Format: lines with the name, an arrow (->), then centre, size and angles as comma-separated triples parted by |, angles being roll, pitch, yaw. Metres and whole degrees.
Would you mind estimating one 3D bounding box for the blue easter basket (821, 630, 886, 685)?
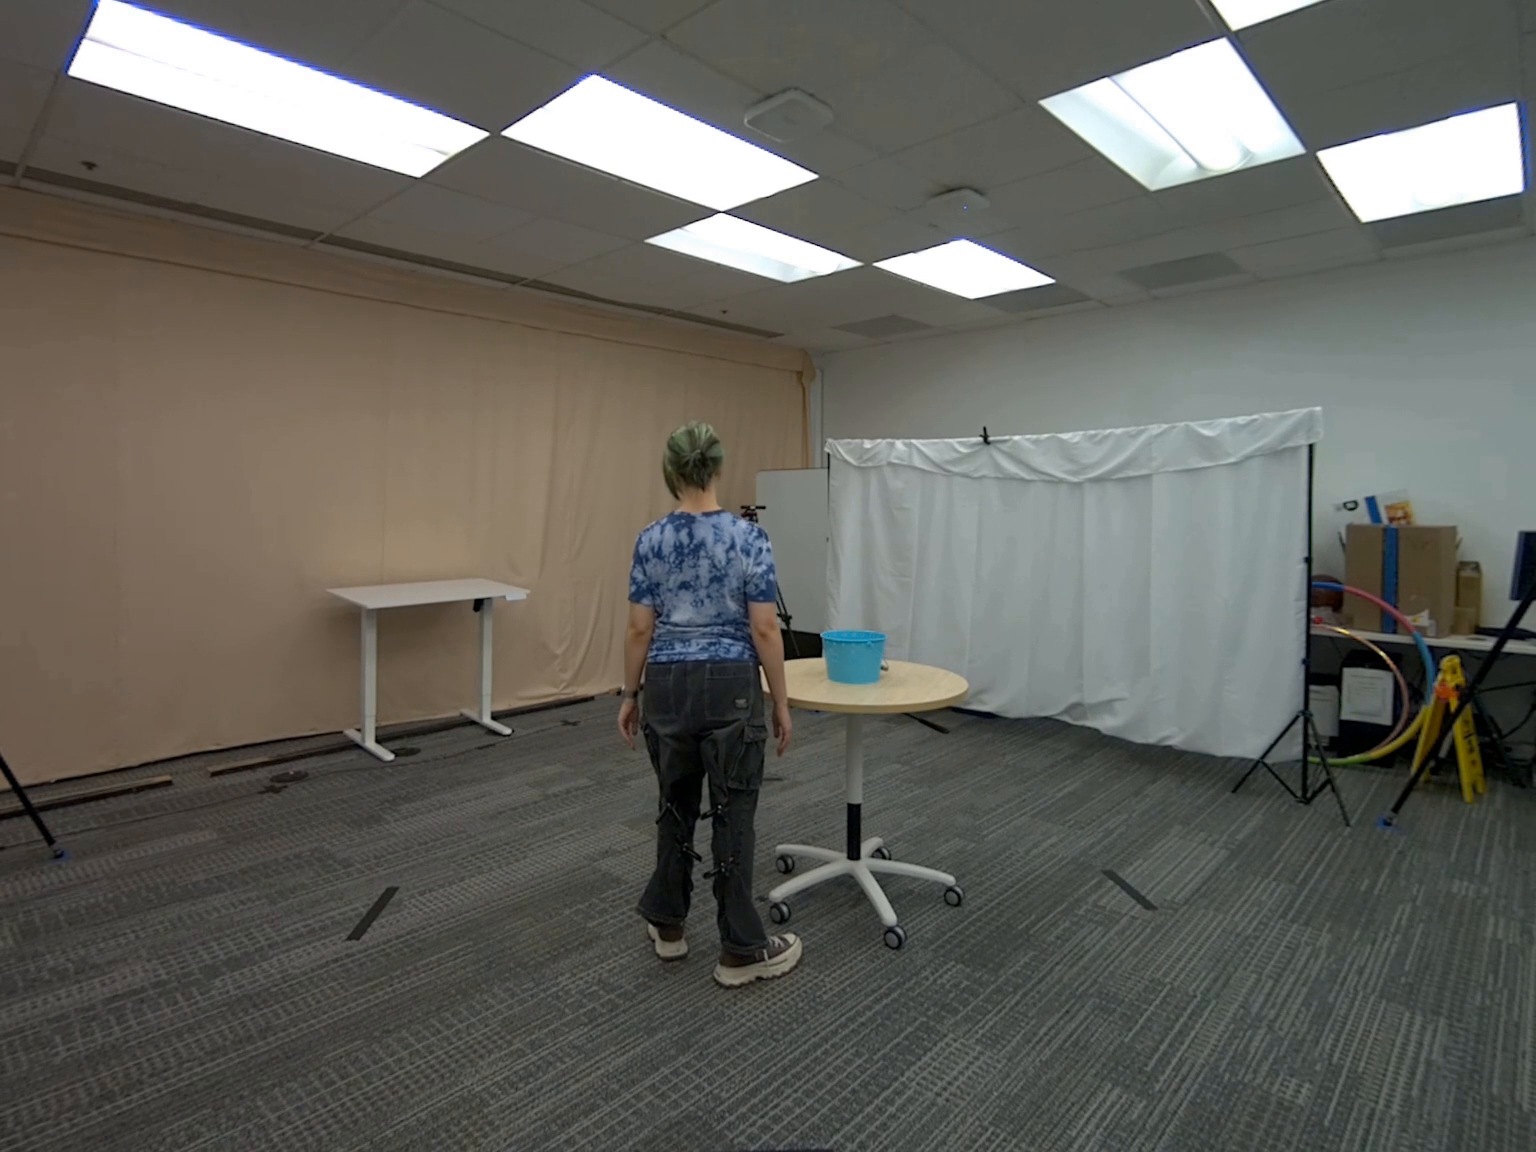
blue easter basket -> 0.317, 0.287, 2.946 | 0.243, 0.155, 0.244 | 0, 5, -2
